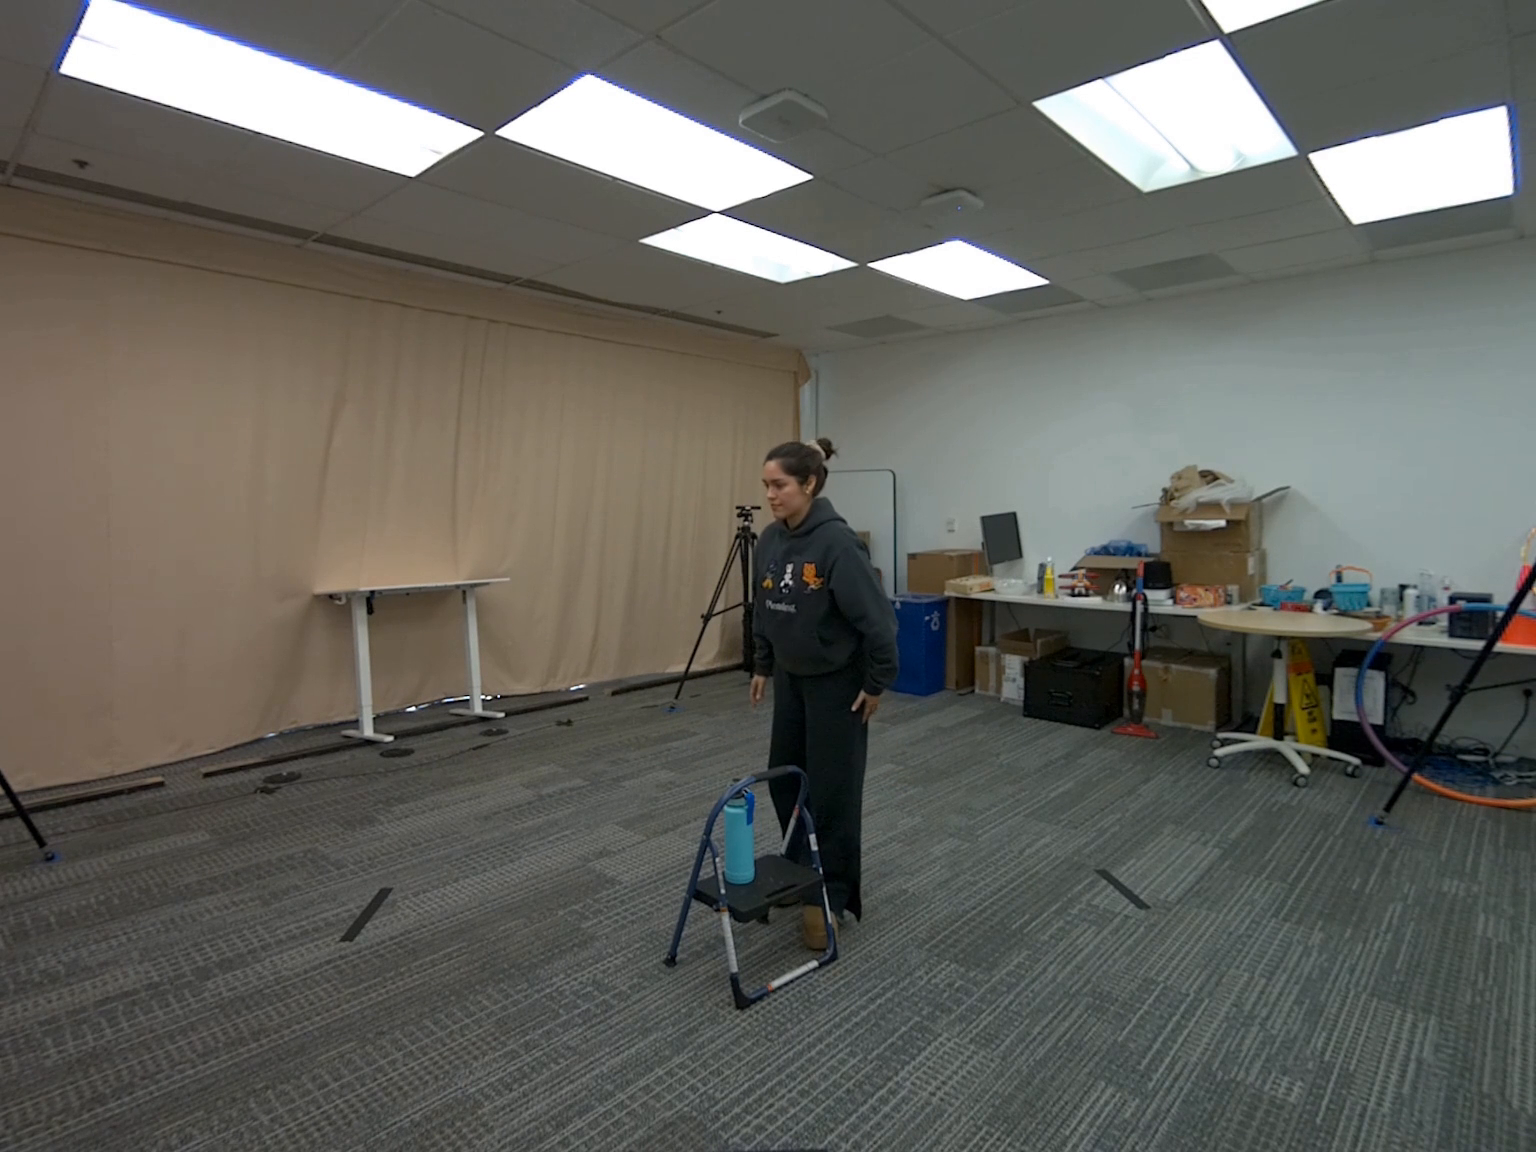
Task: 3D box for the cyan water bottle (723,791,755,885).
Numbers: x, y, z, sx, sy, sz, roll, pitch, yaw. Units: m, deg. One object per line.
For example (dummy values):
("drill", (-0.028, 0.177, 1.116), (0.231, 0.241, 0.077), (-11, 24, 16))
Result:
("cyan water bottle", (-0.067, 0.780, 2.549), (0.092, 0.283, 0.092), (-1, 2, -2))
